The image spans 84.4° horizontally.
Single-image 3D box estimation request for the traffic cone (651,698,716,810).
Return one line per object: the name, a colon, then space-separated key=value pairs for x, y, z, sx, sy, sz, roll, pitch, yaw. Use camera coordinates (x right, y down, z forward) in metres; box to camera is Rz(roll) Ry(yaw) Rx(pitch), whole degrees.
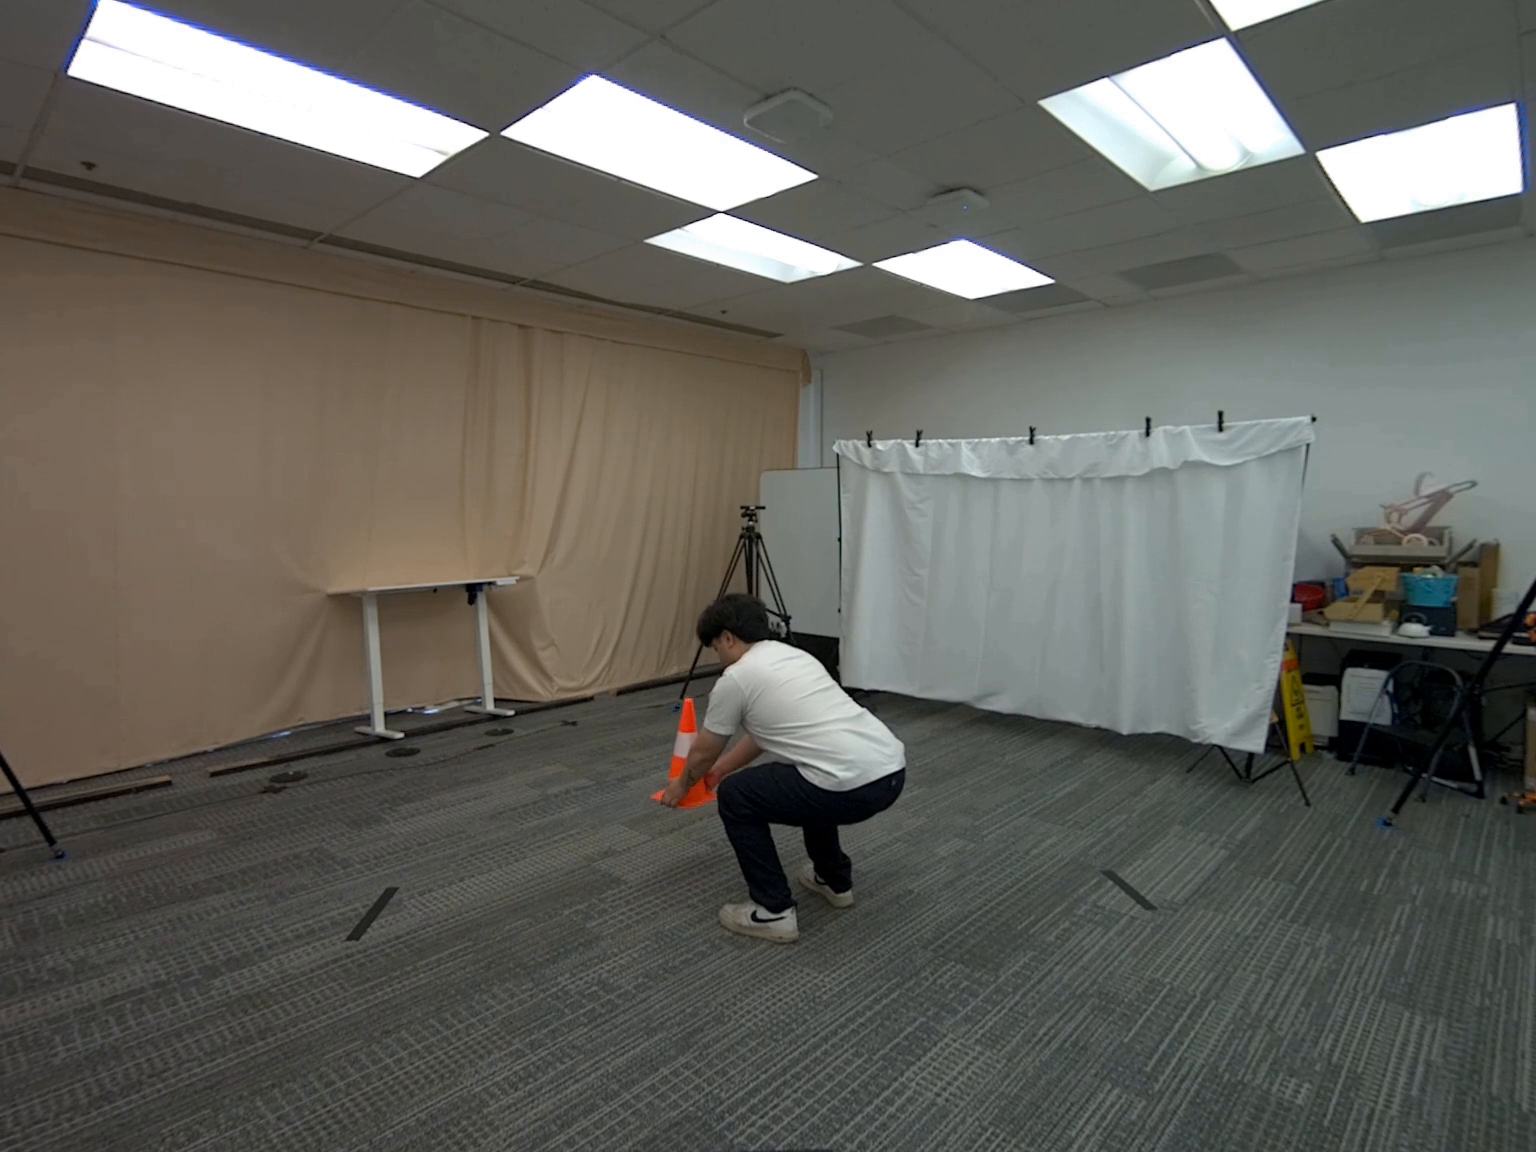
traffic cone: x=-0.313 y=0.658 z=3.218 sx=0.210 sy=0.382 sz=0.199 roll=4 pitch=6 yaw=34
